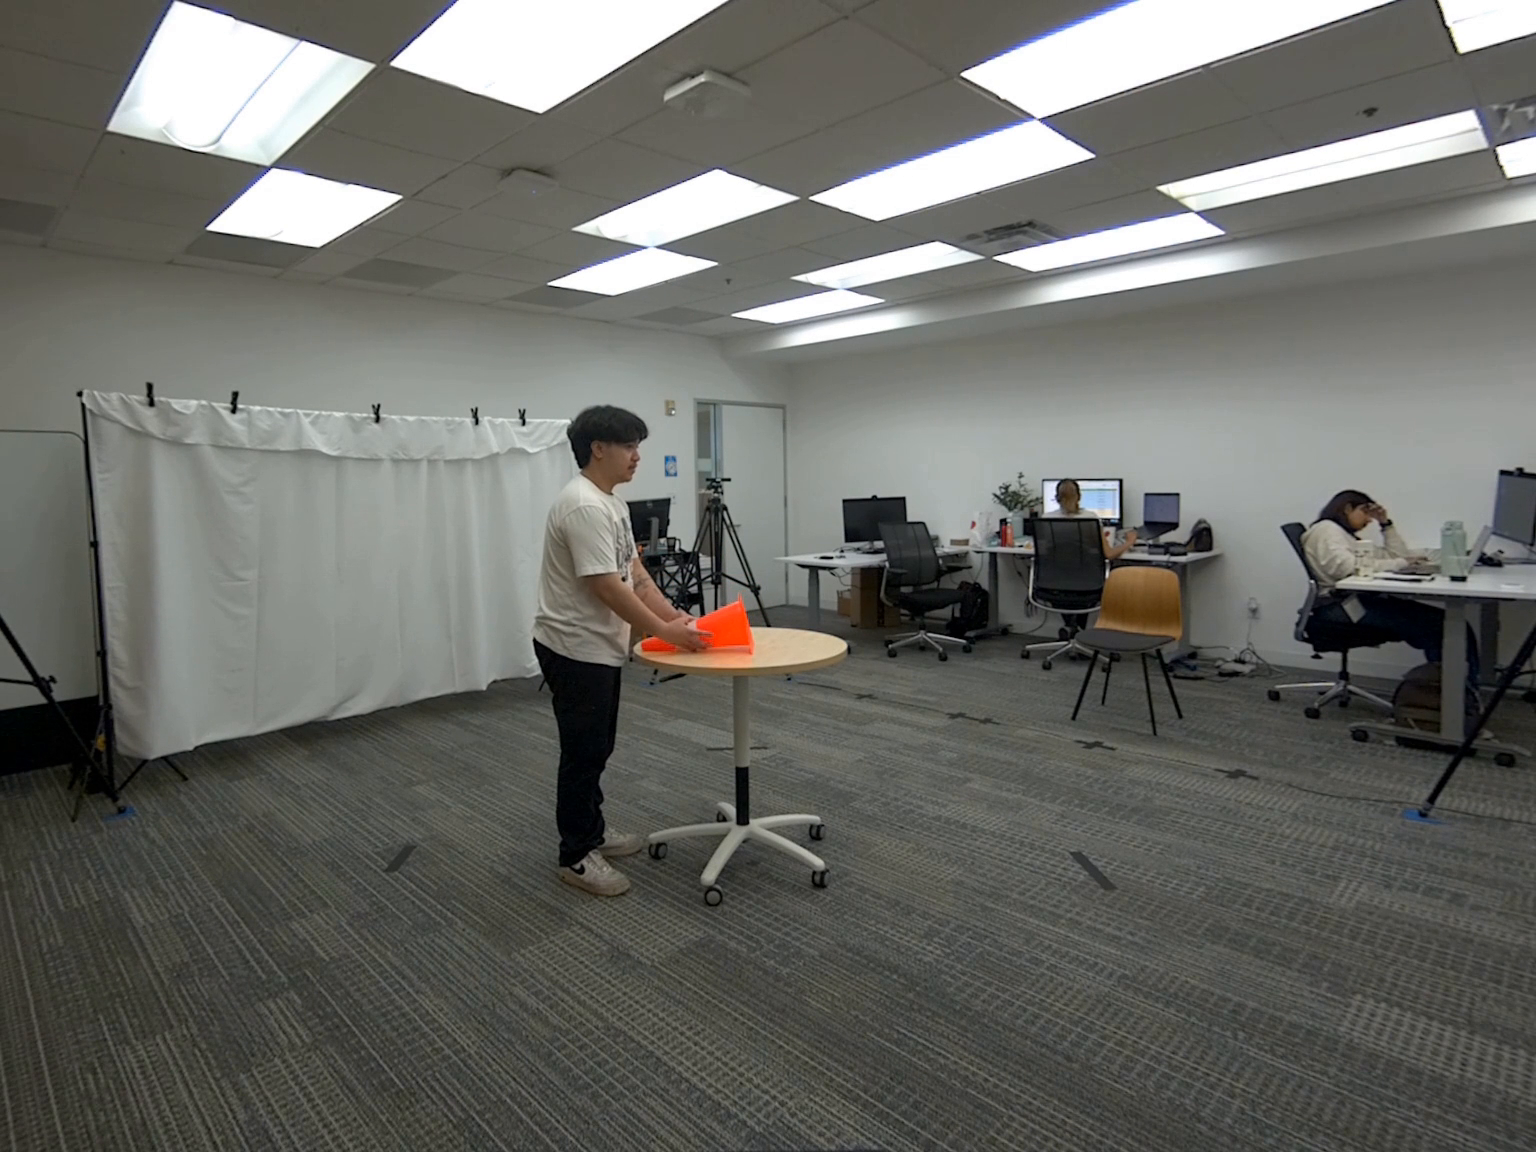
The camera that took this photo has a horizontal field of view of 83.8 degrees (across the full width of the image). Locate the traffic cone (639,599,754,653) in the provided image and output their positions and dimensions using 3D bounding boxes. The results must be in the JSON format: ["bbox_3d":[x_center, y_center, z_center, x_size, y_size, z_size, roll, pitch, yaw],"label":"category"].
[{"bbox_3d":[-0.257,0.205,3.010,0.386,0.201,0.206,-12,9,7],"label":"traffic cone"}]
